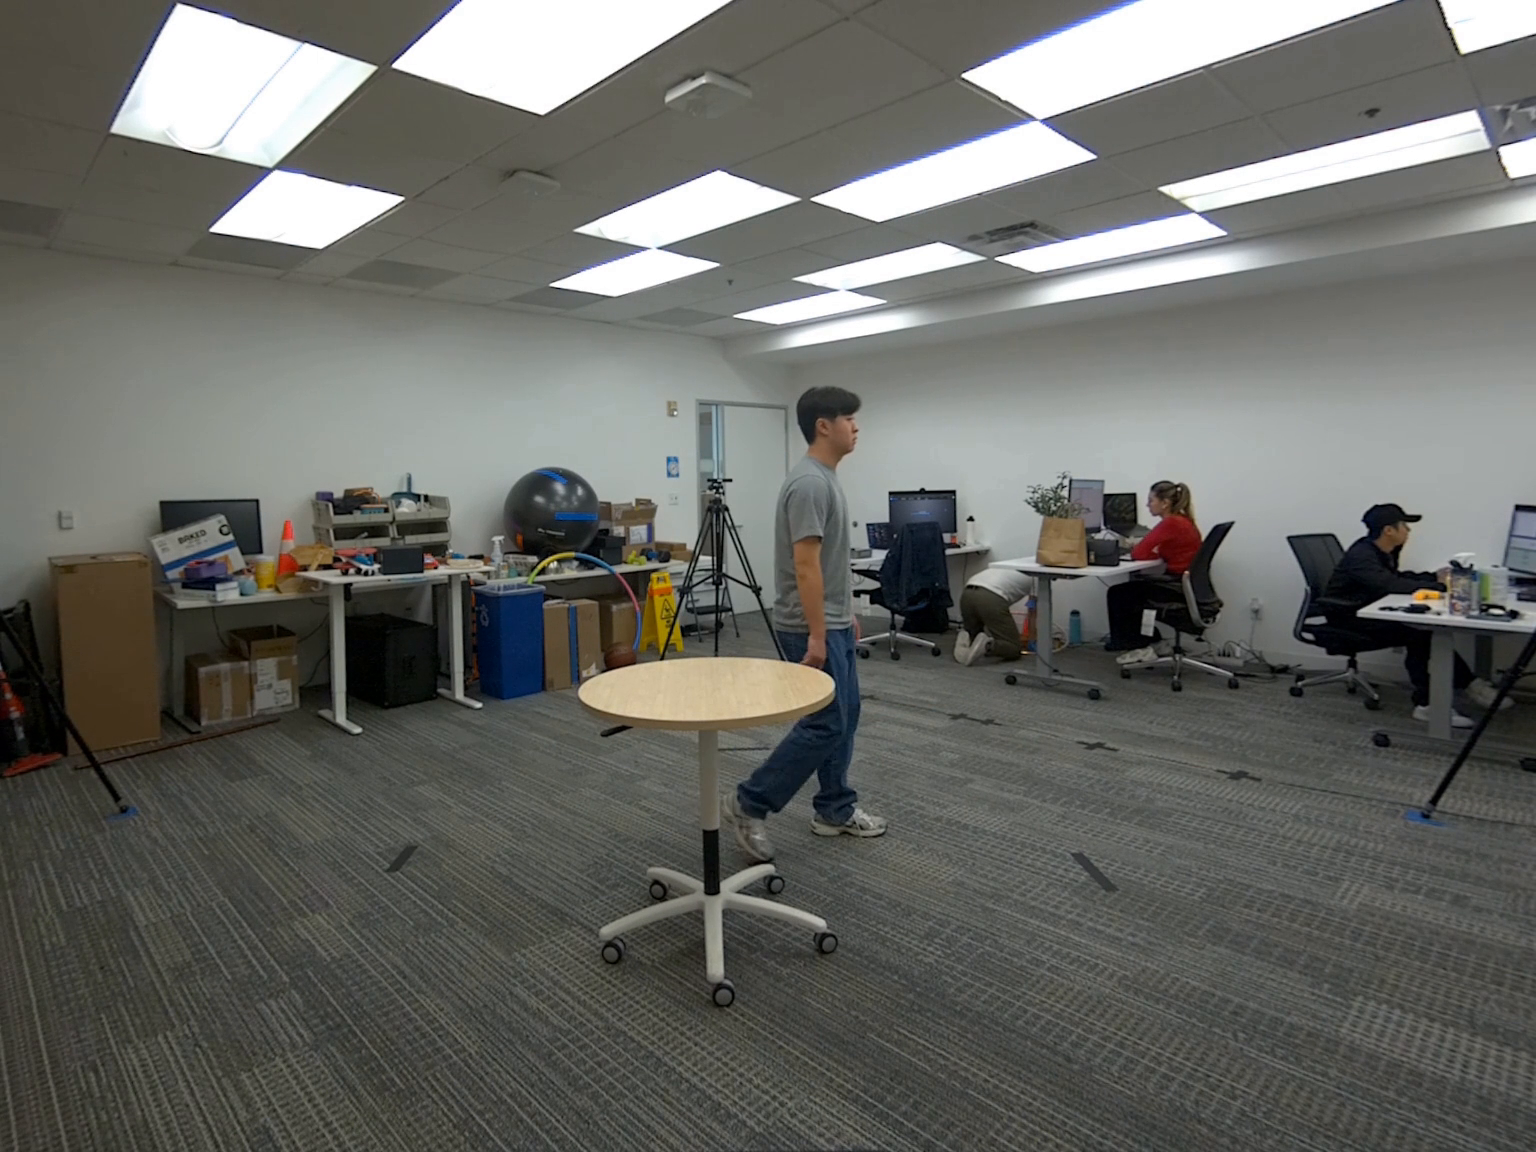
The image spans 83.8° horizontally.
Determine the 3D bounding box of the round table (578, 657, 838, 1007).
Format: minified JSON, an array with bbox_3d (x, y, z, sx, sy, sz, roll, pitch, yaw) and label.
[{"bbox_3d":[-0.173,0.718,2.594,0.763,0.790,0.768,-2,5,-2],"label":"round table"}]
